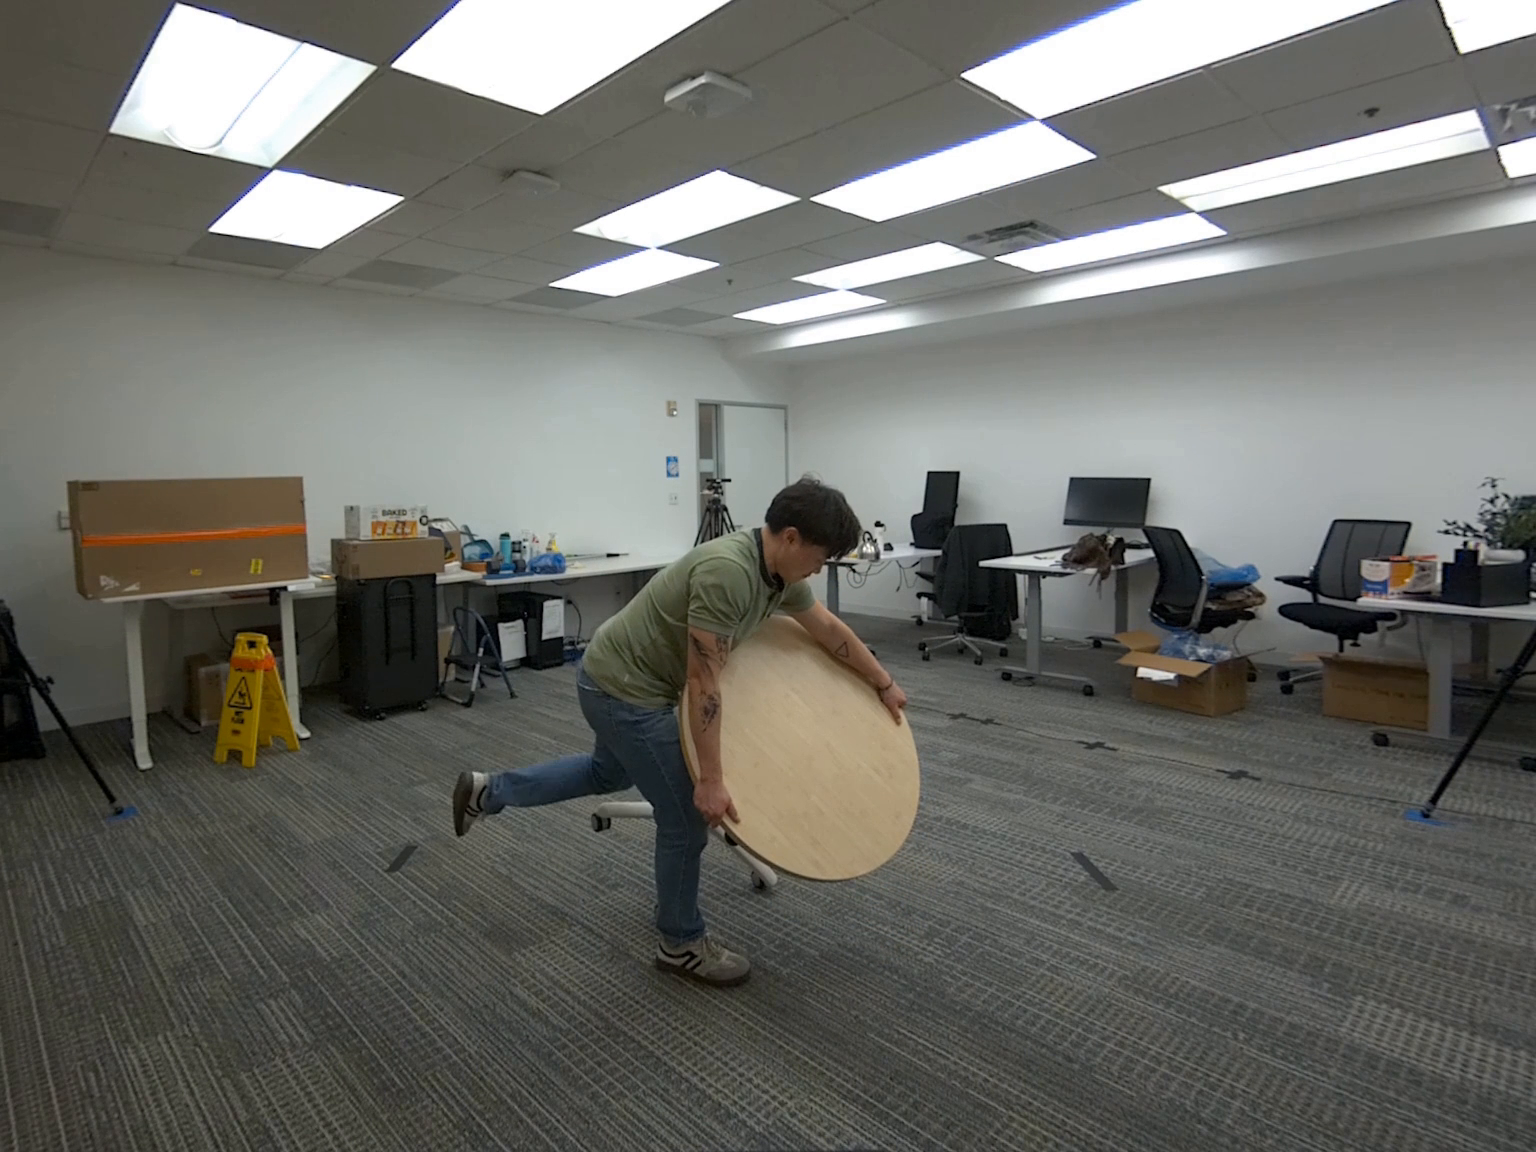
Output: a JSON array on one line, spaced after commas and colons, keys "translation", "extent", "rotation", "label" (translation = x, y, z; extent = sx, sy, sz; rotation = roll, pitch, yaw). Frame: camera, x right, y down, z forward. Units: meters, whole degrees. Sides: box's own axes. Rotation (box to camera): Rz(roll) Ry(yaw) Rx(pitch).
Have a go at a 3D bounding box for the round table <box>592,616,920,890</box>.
[{"translation": [-0.078, 0.643, 2.673], "extent": [0.744, 0.785, 0.792], "rotation": [-4, -30, -36], "label": "round table"}]
